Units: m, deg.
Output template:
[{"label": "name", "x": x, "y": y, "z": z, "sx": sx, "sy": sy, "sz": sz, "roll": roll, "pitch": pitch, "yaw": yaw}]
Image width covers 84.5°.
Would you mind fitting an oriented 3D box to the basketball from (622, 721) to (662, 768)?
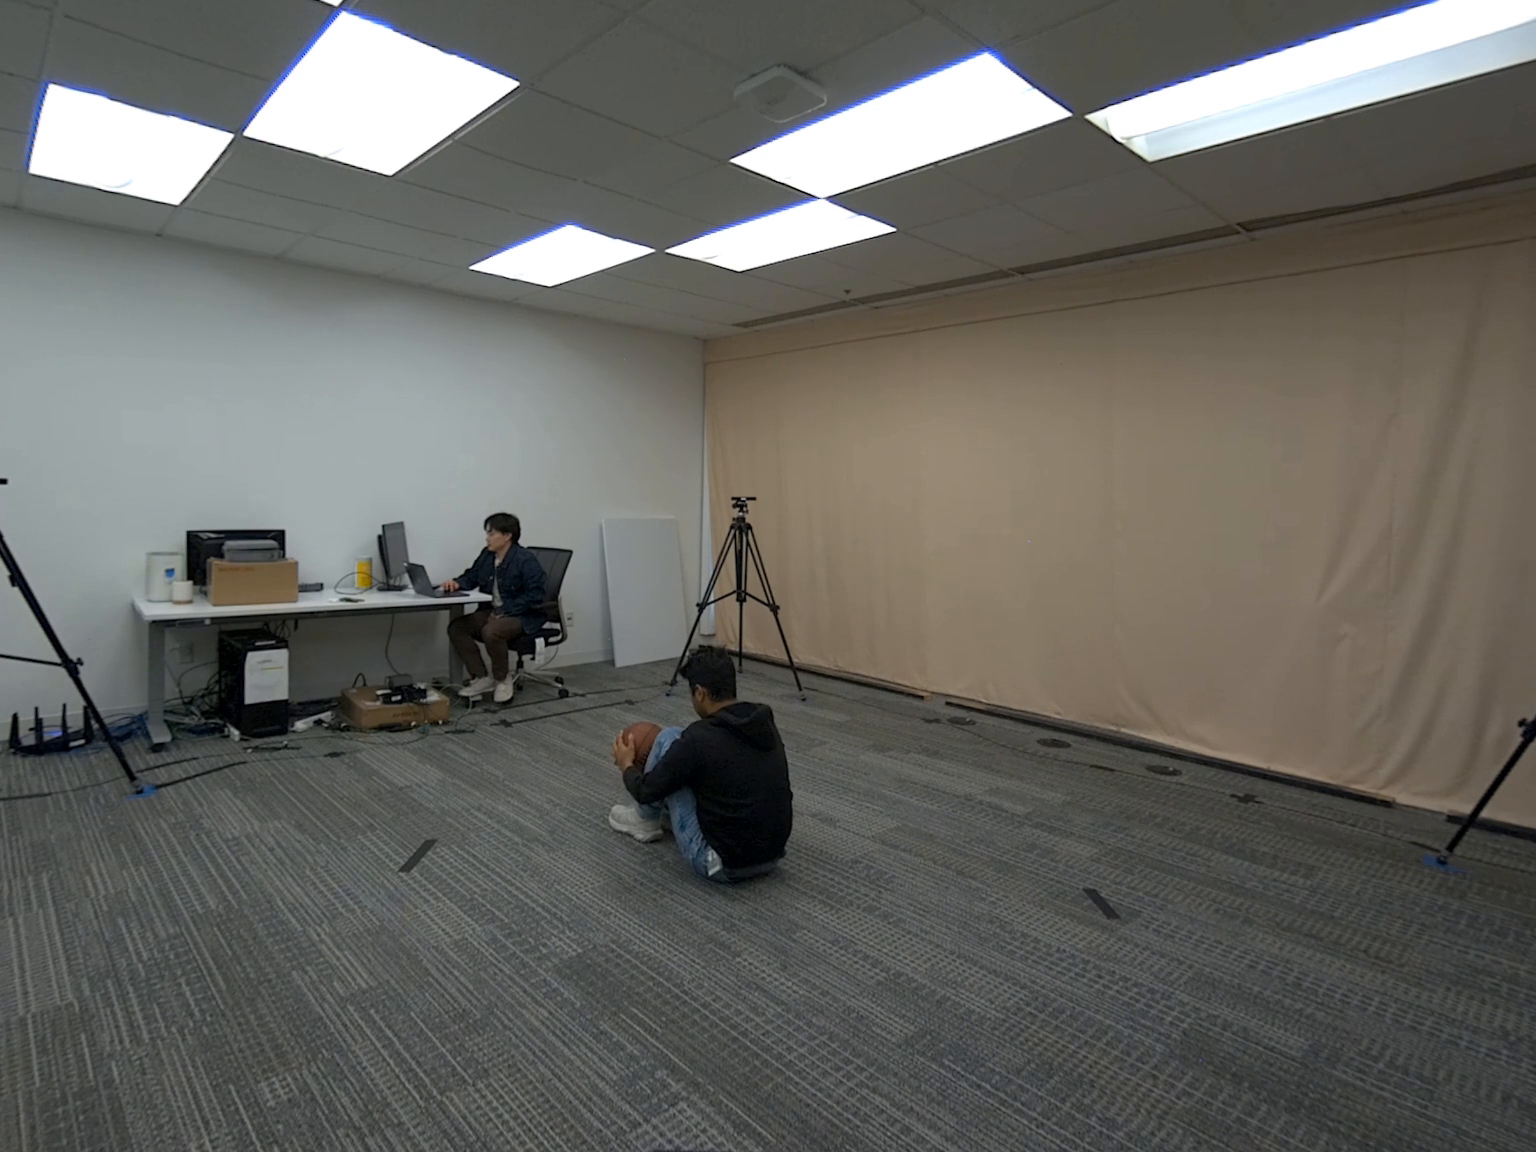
[{"label": "basketball", "x": -0.520, "y": 0.732, "z": 3.542, "sx": 0.236, "sy": 0.235, "sz": 0.237, "roll": 1, "pitch": 4, "yaw": -1}]
